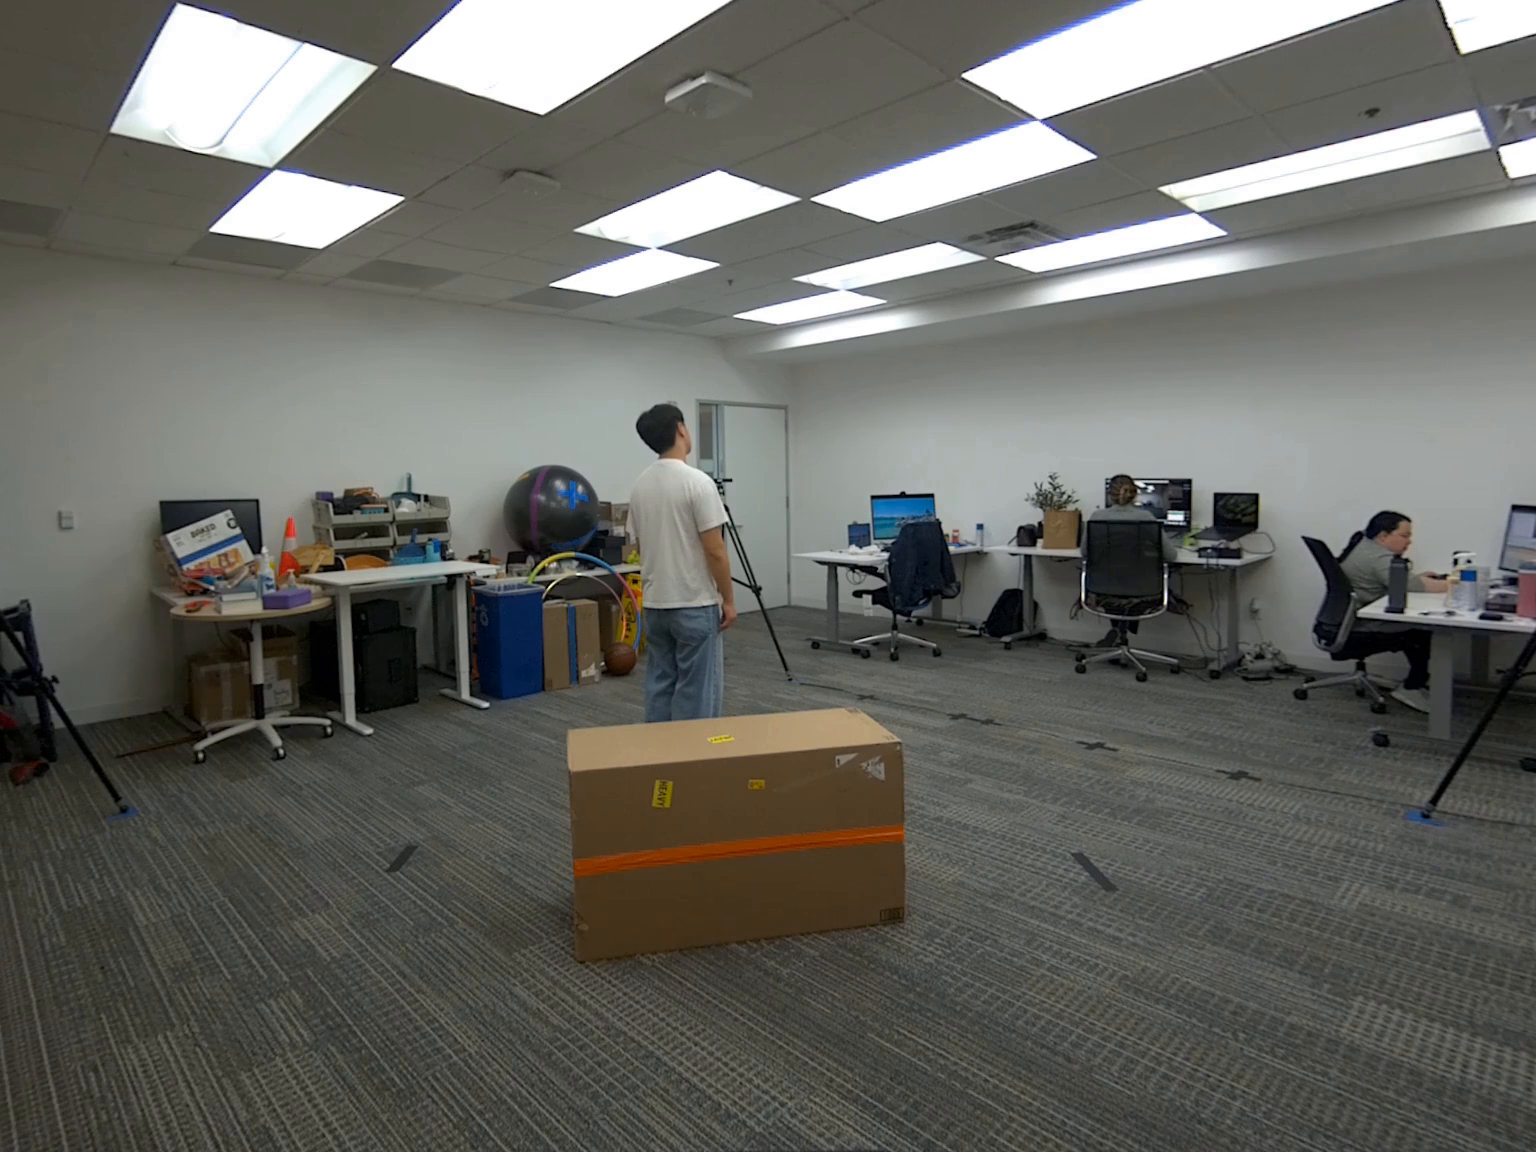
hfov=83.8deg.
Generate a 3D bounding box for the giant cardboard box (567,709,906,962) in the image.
[{"bbox_3d":[-0.116,0.796,2.764,1.015,0.575,0.432,-3,4,-12],"label":"giant cardboard box"}]
